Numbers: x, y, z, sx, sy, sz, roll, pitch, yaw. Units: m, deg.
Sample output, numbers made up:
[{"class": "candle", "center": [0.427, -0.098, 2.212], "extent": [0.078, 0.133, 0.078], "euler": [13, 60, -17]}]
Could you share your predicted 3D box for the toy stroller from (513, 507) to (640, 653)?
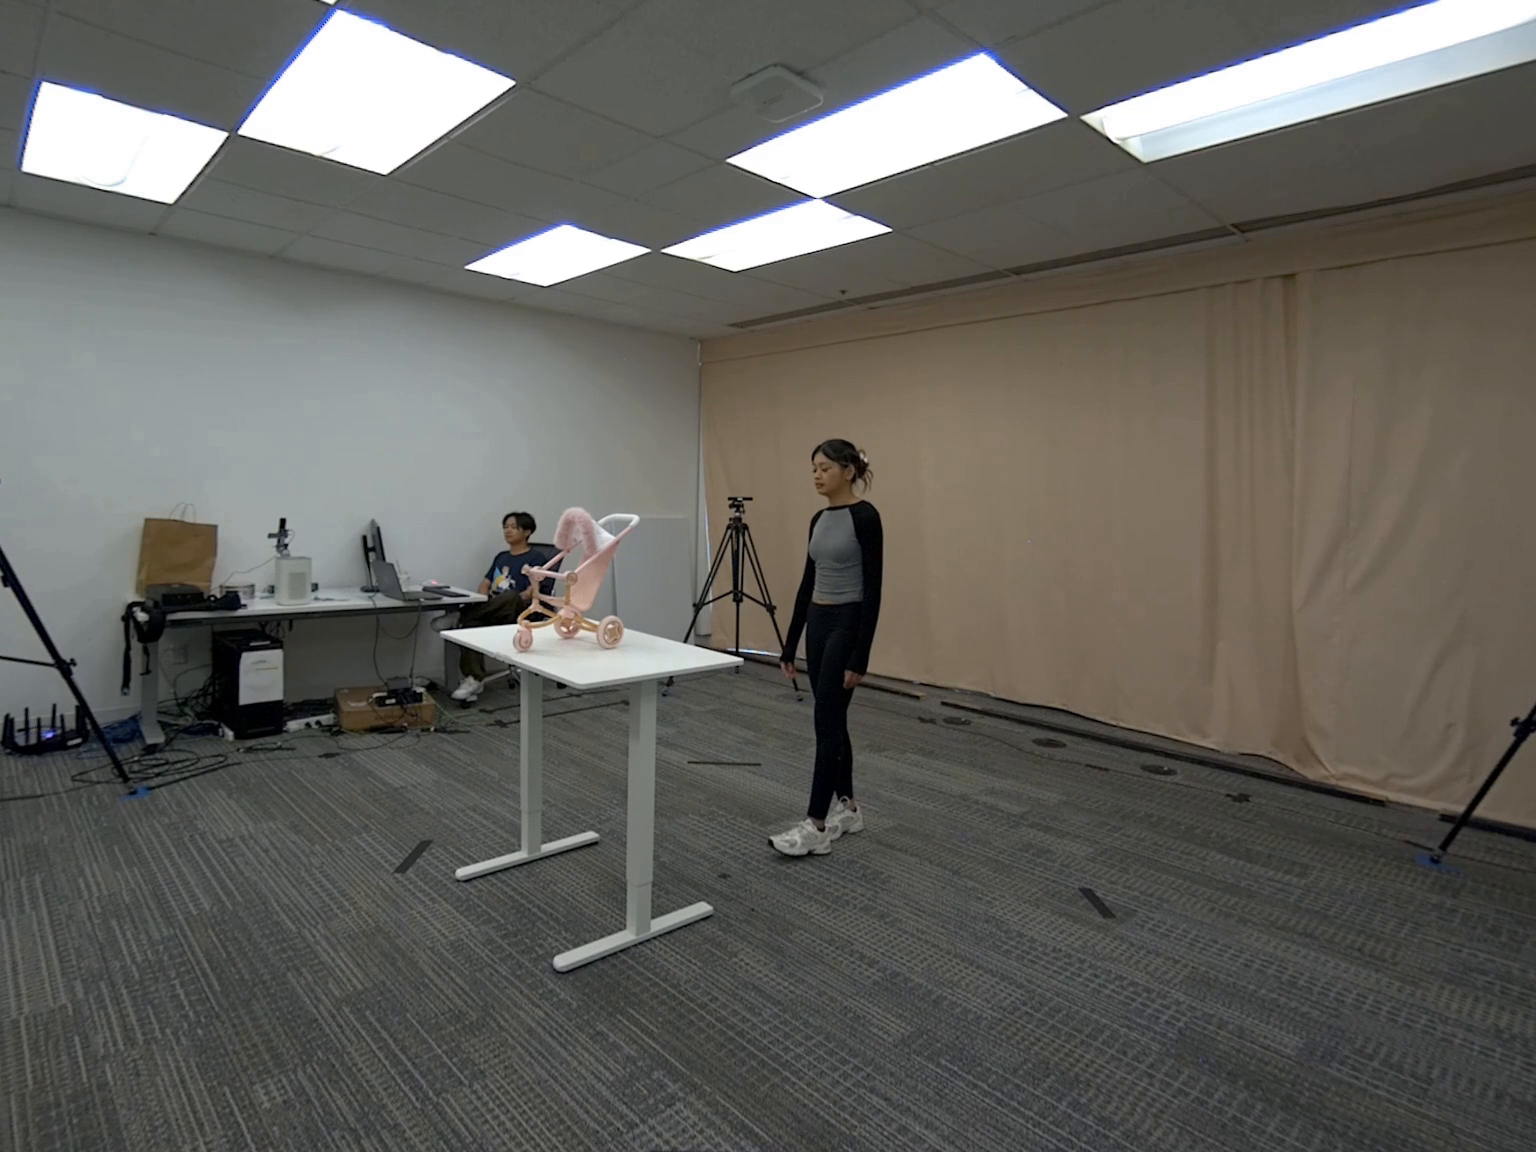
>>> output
[{"class": "toy stroller", "center": [-0.664, 0.013, 2.839], "extent": [0.331, 0.537, 0.288], "euler": [17, -8, -41]}]
